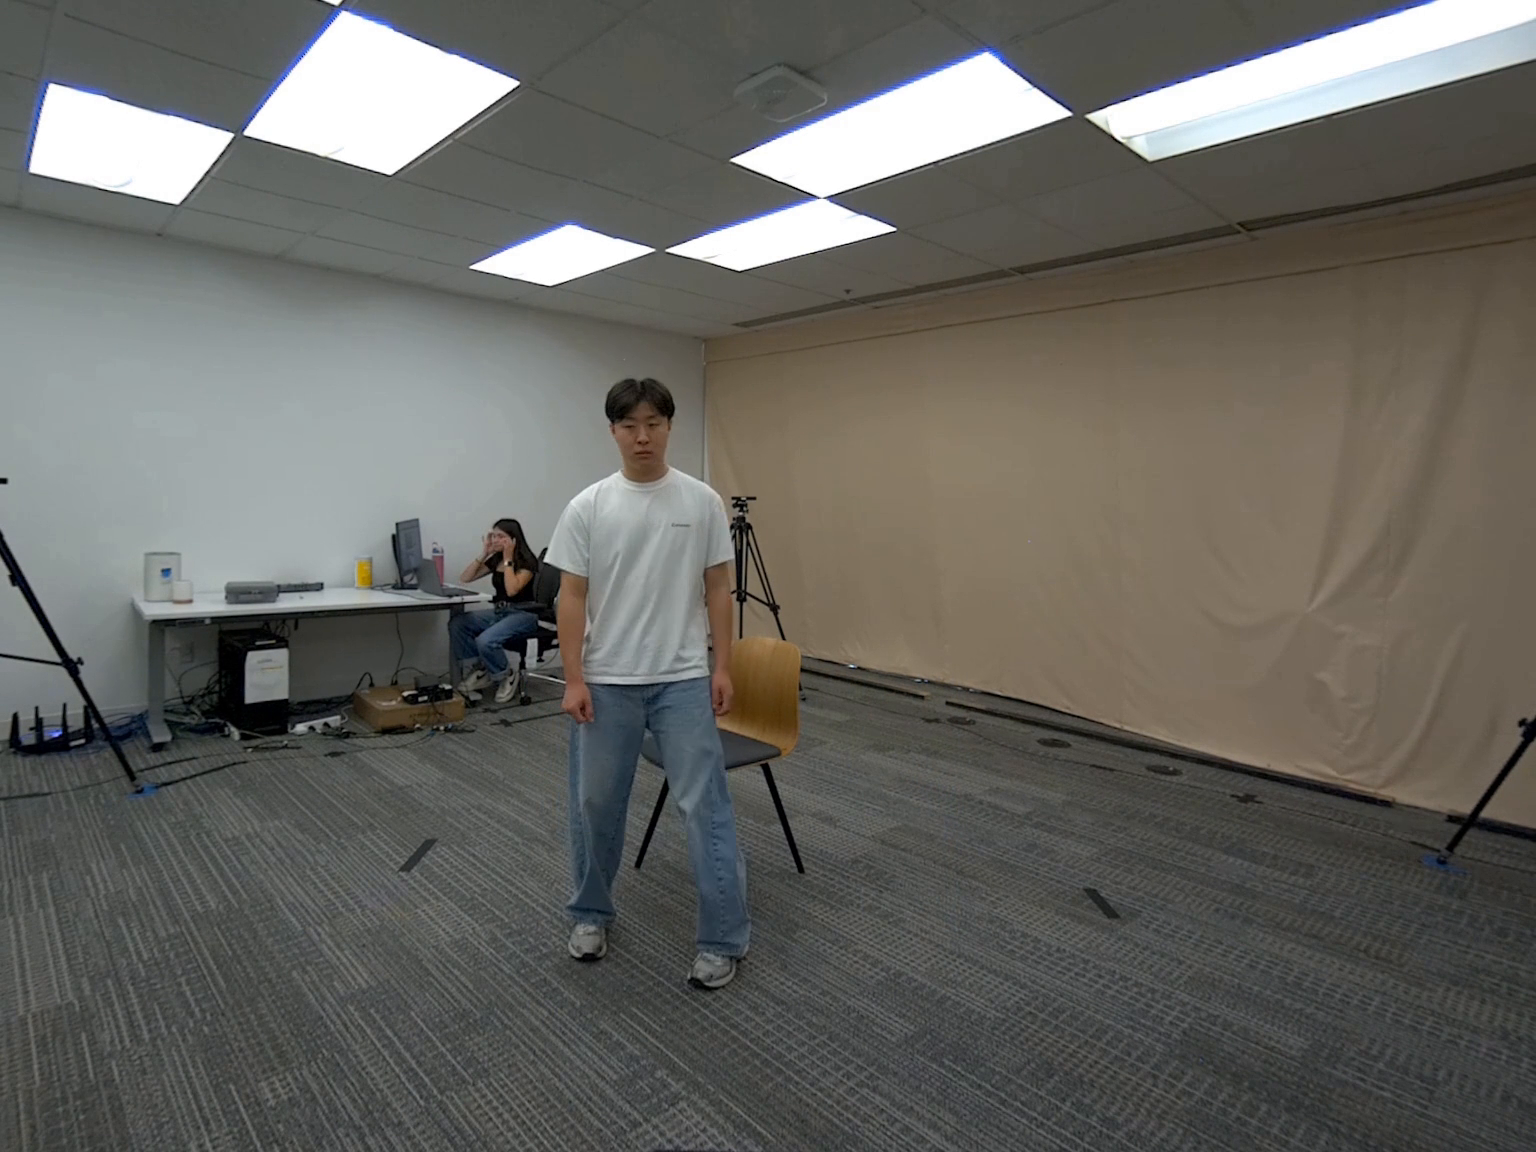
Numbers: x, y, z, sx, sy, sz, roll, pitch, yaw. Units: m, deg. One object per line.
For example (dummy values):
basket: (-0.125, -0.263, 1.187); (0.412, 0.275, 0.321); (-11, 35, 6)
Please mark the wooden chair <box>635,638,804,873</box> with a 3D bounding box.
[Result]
wooden chair: (-0.181, 0.678, 3.109); (0.510, 0.877, 0.490); (4, 0, -45)
